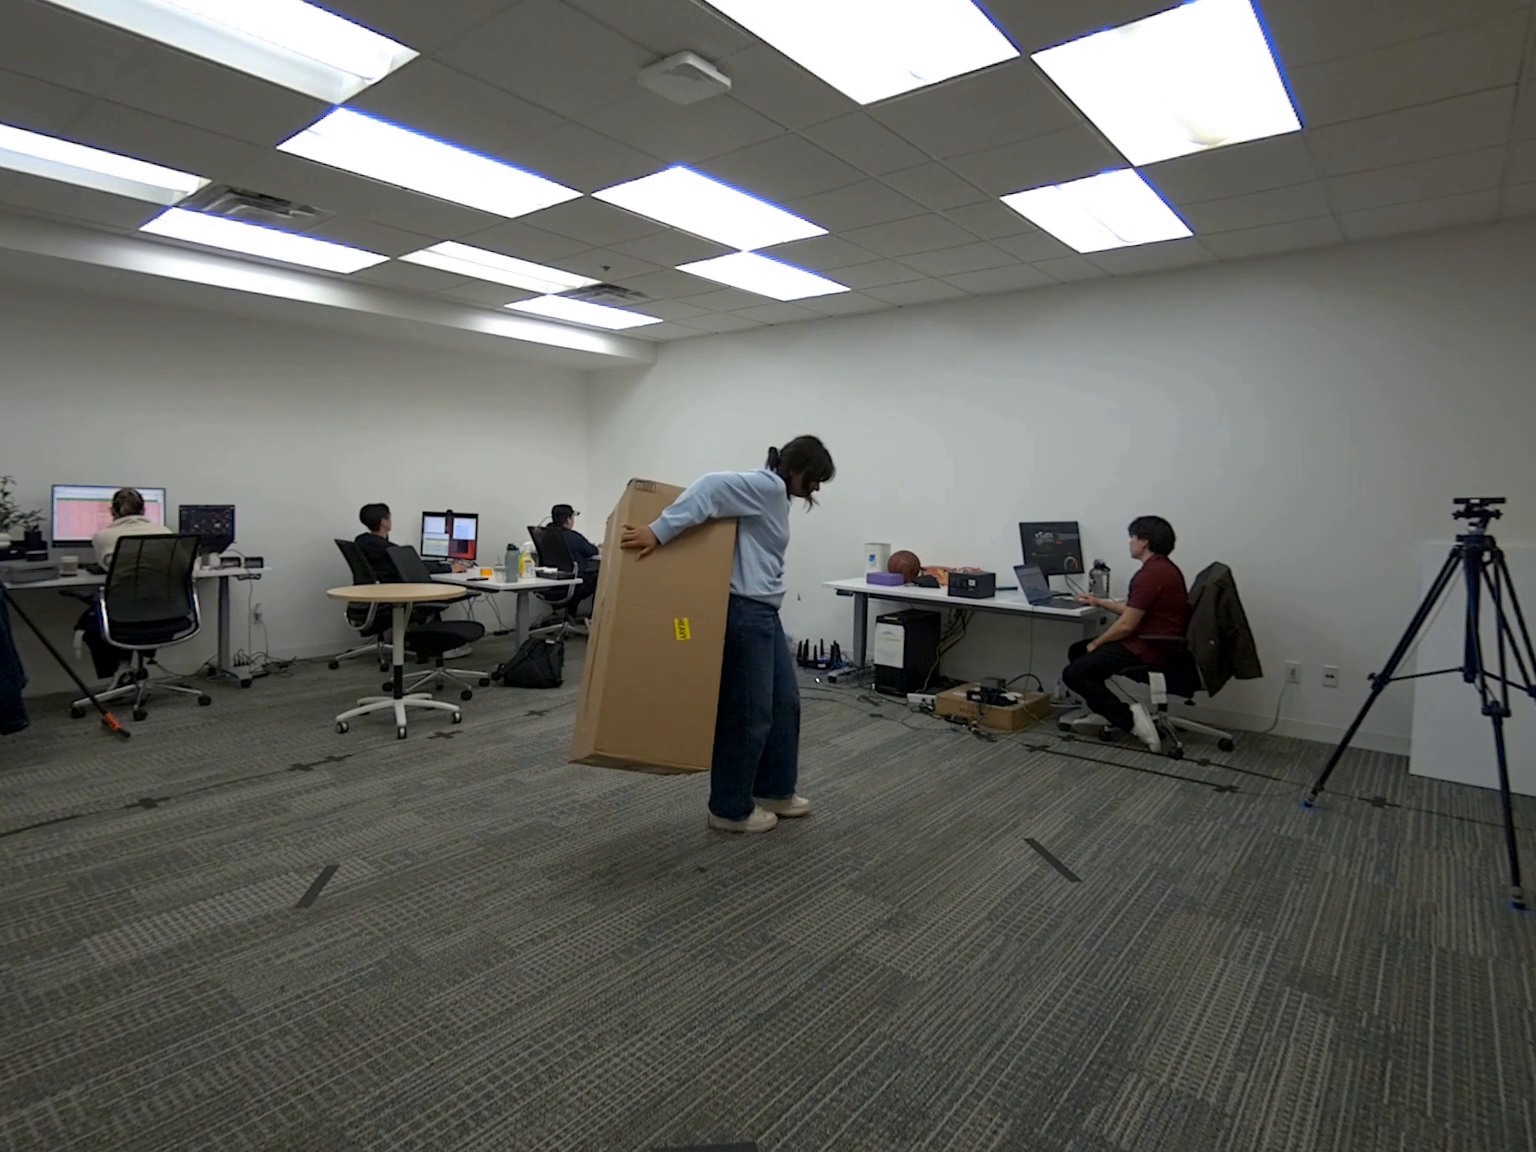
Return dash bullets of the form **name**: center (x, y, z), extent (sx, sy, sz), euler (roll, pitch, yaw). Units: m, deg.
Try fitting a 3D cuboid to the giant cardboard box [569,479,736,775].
- **giant cardboard box**: center (-0.461, 0.224, 3.324), extent (0.418, 1.042, 0.580), euler (12, -20, -17)
